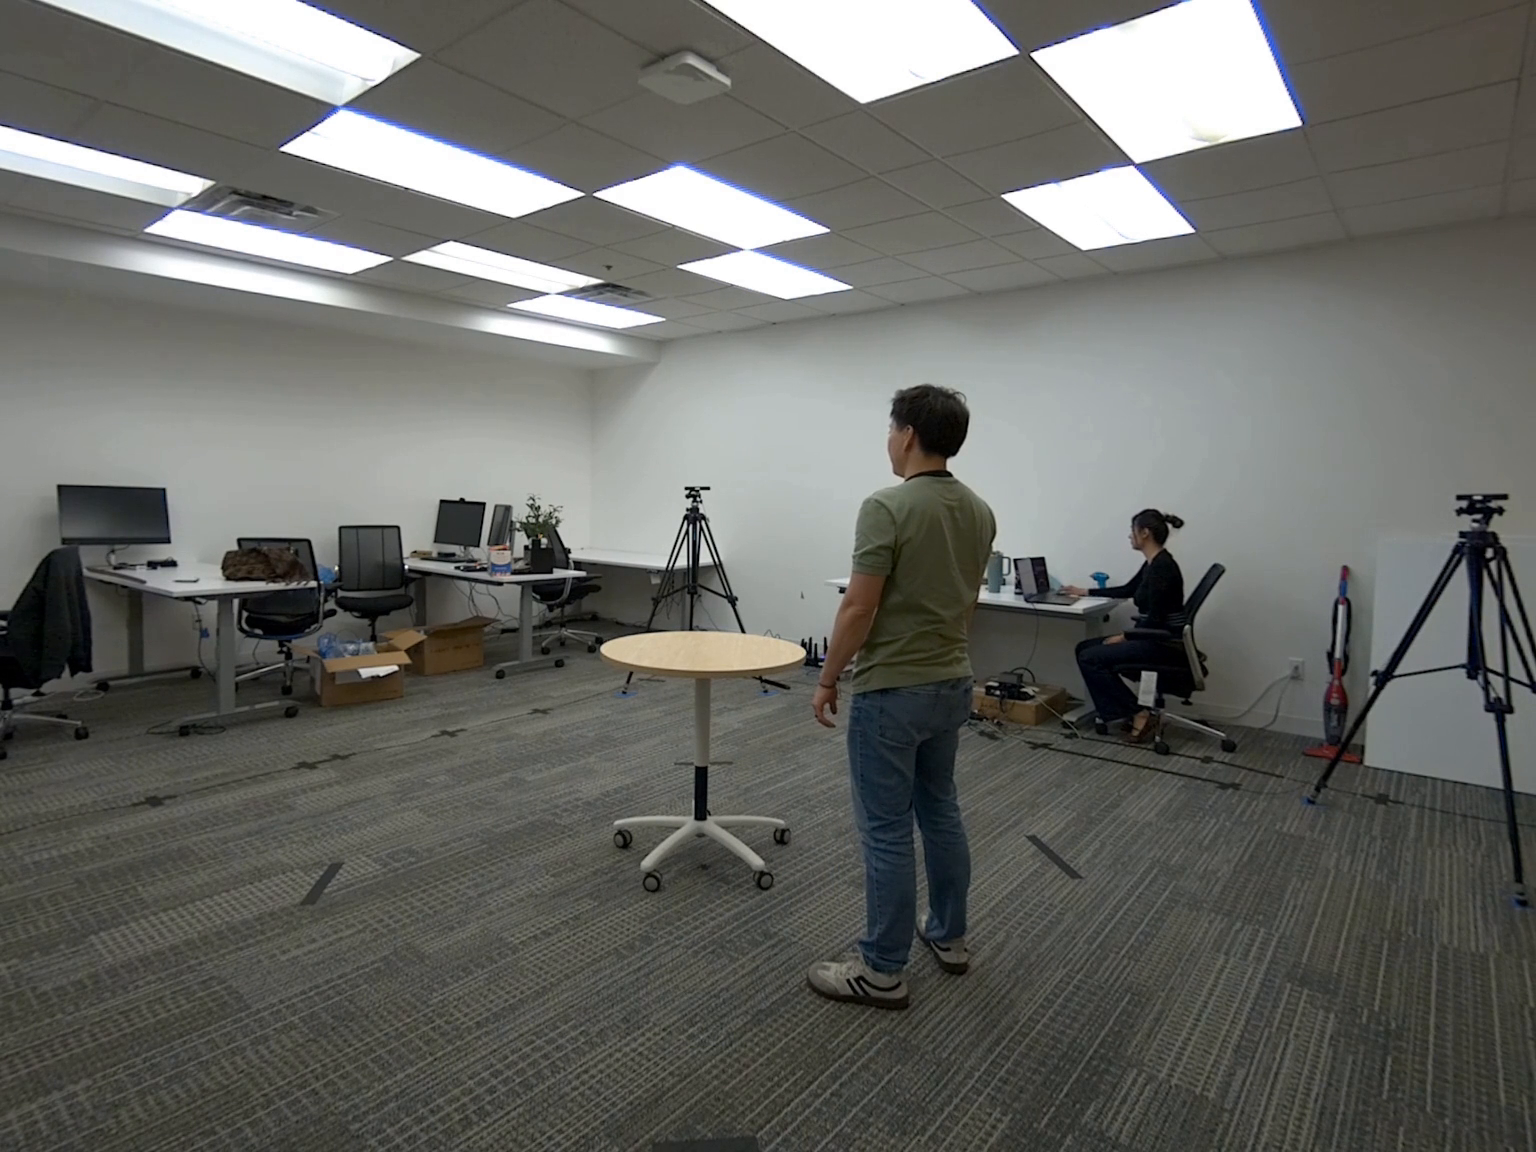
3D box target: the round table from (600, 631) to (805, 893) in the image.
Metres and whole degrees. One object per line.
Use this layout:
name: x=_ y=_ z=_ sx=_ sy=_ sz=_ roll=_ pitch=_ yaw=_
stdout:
round table: x=-0.262 y=0.664 z=3.196 sx=0.763 sy=0.792 sz=0.767 roll=1 pitch=4 yaw=-2
